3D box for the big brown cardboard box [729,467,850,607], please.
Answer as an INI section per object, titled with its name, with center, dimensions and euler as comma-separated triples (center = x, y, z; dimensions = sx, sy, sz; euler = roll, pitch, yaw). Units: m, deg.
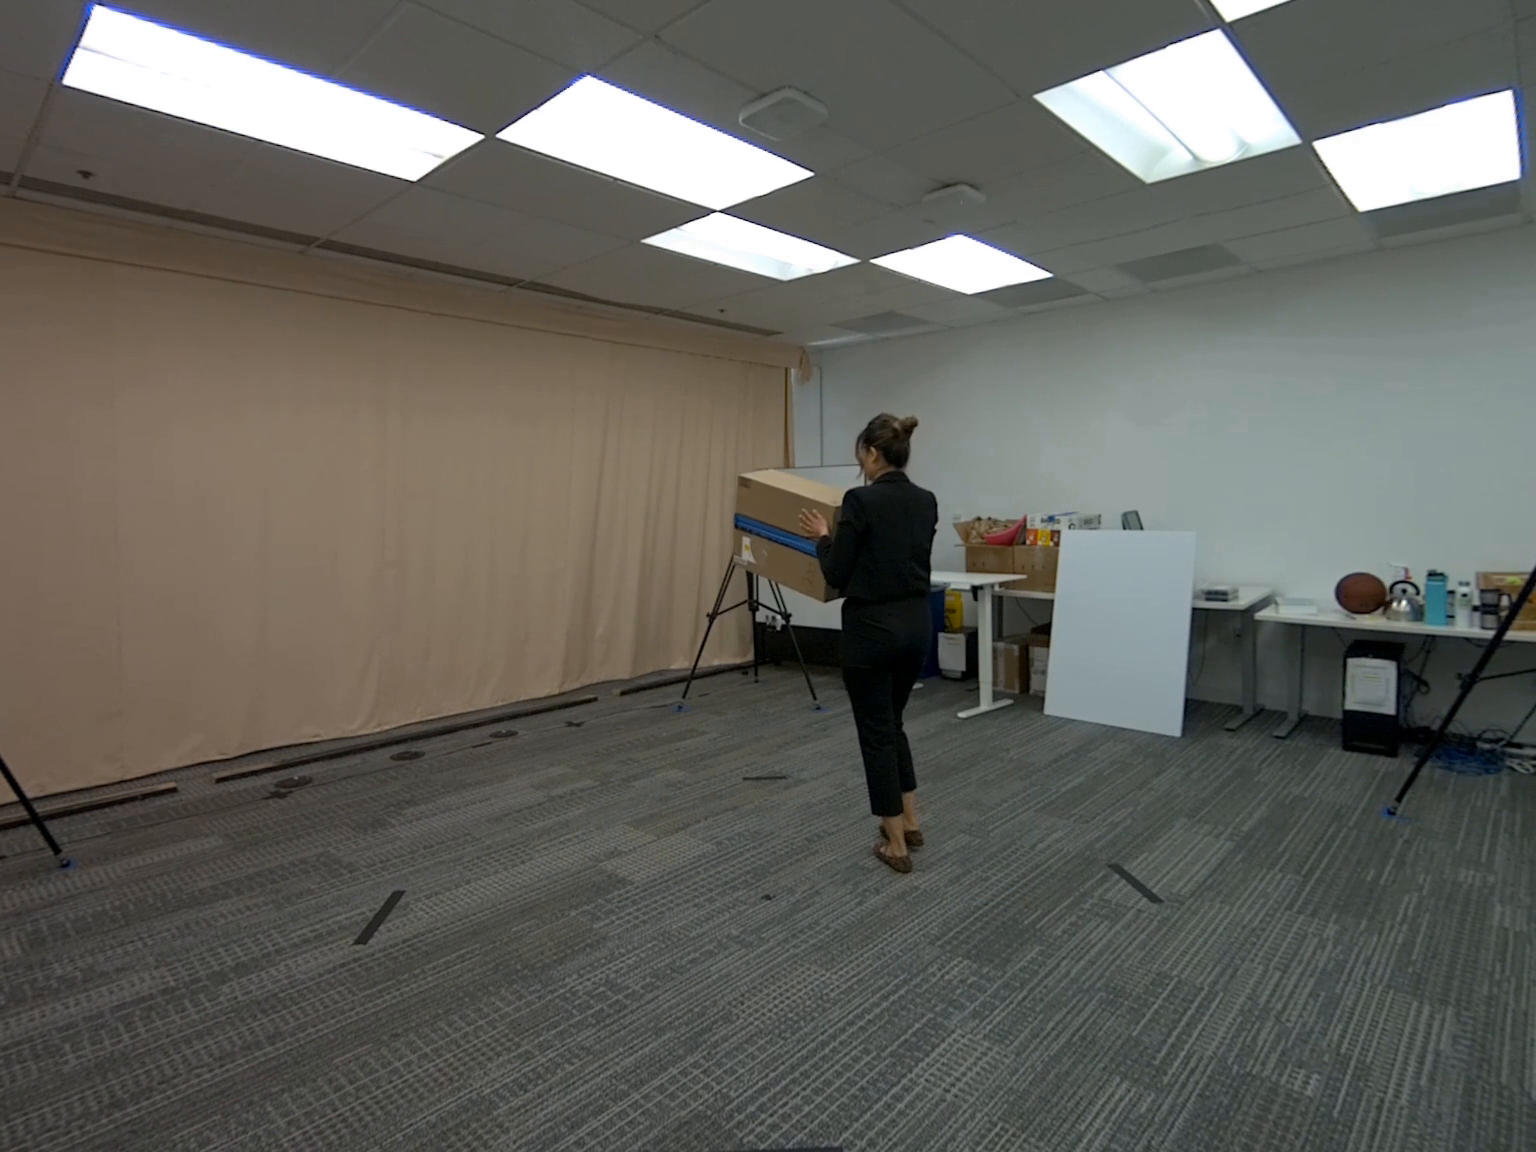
[big brown cardboard box]
center = 0.128, -0.185, 3.607
dimensions = 0.227, 0.413, 0.611
euler = -15, 26, -42
